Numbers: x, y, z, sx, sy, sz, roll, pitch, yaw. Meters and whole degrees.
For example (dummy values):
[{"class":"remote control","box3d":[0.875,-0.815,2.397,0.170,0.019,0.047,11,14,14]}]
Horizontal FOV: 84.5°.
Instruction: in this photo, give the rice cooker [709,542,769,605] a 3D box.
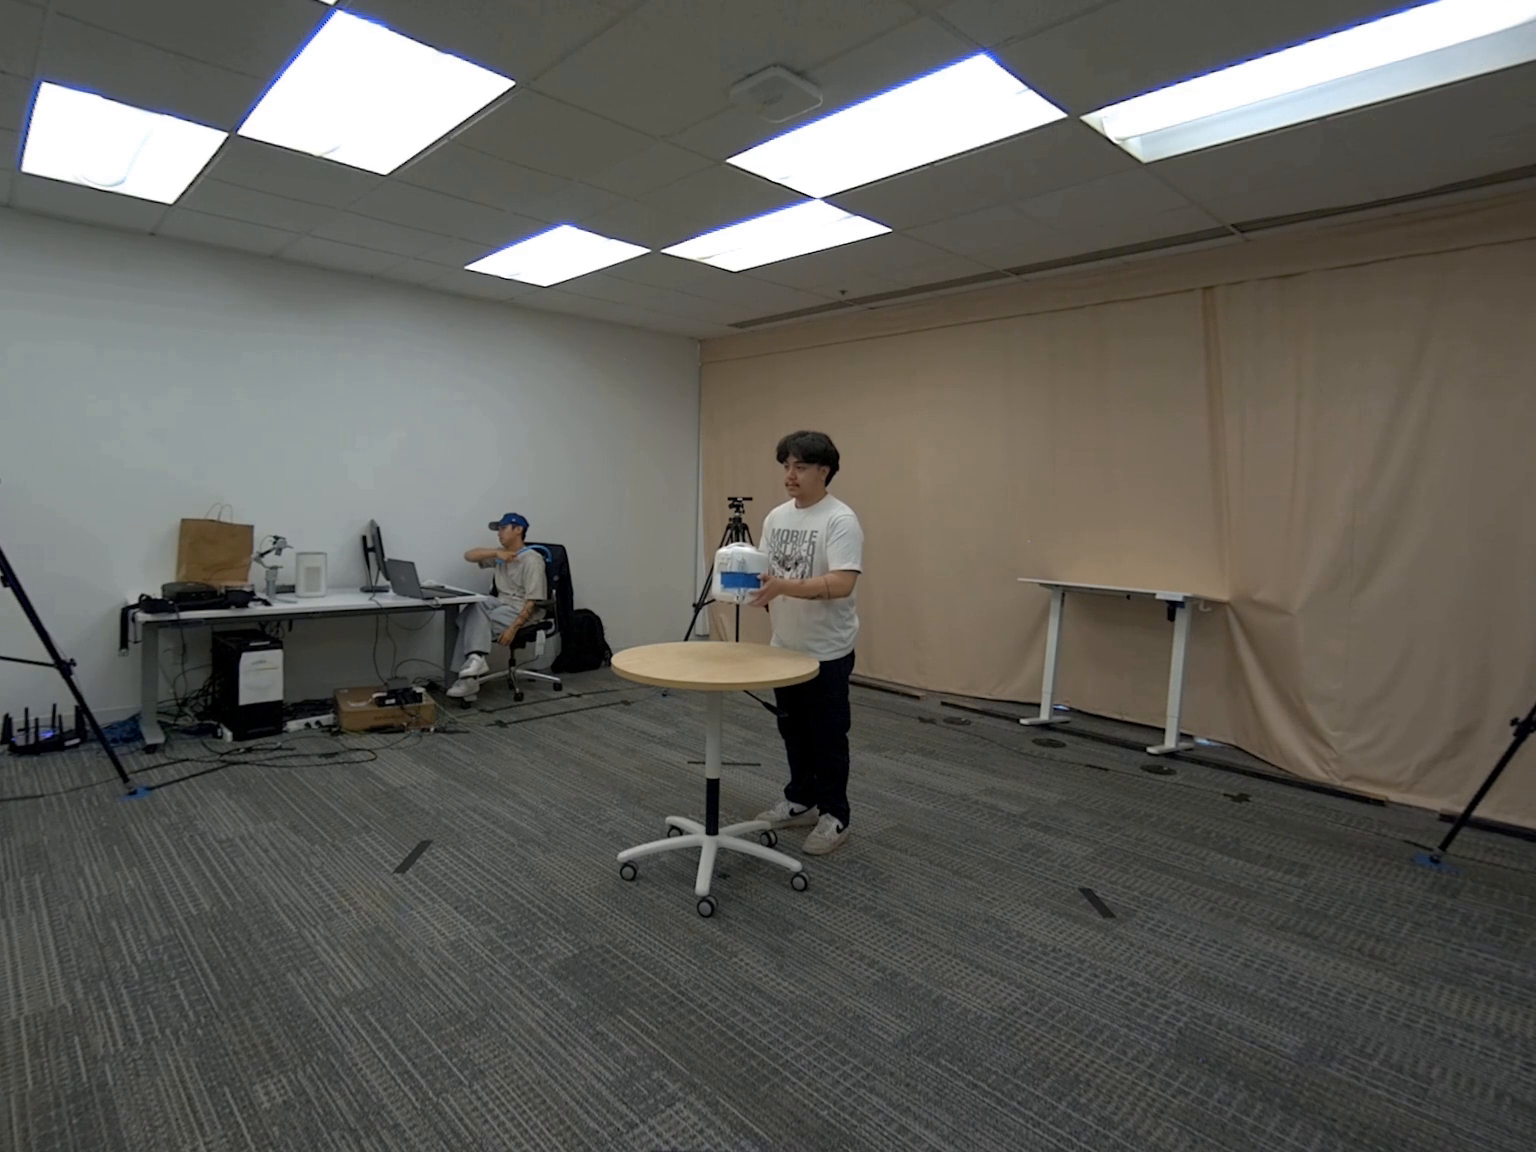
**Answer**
[{"class":"rice cooker","box3d":[-0.114,-0.011,3.201,0.223,0.233,0.214,4,-5,41]}]
